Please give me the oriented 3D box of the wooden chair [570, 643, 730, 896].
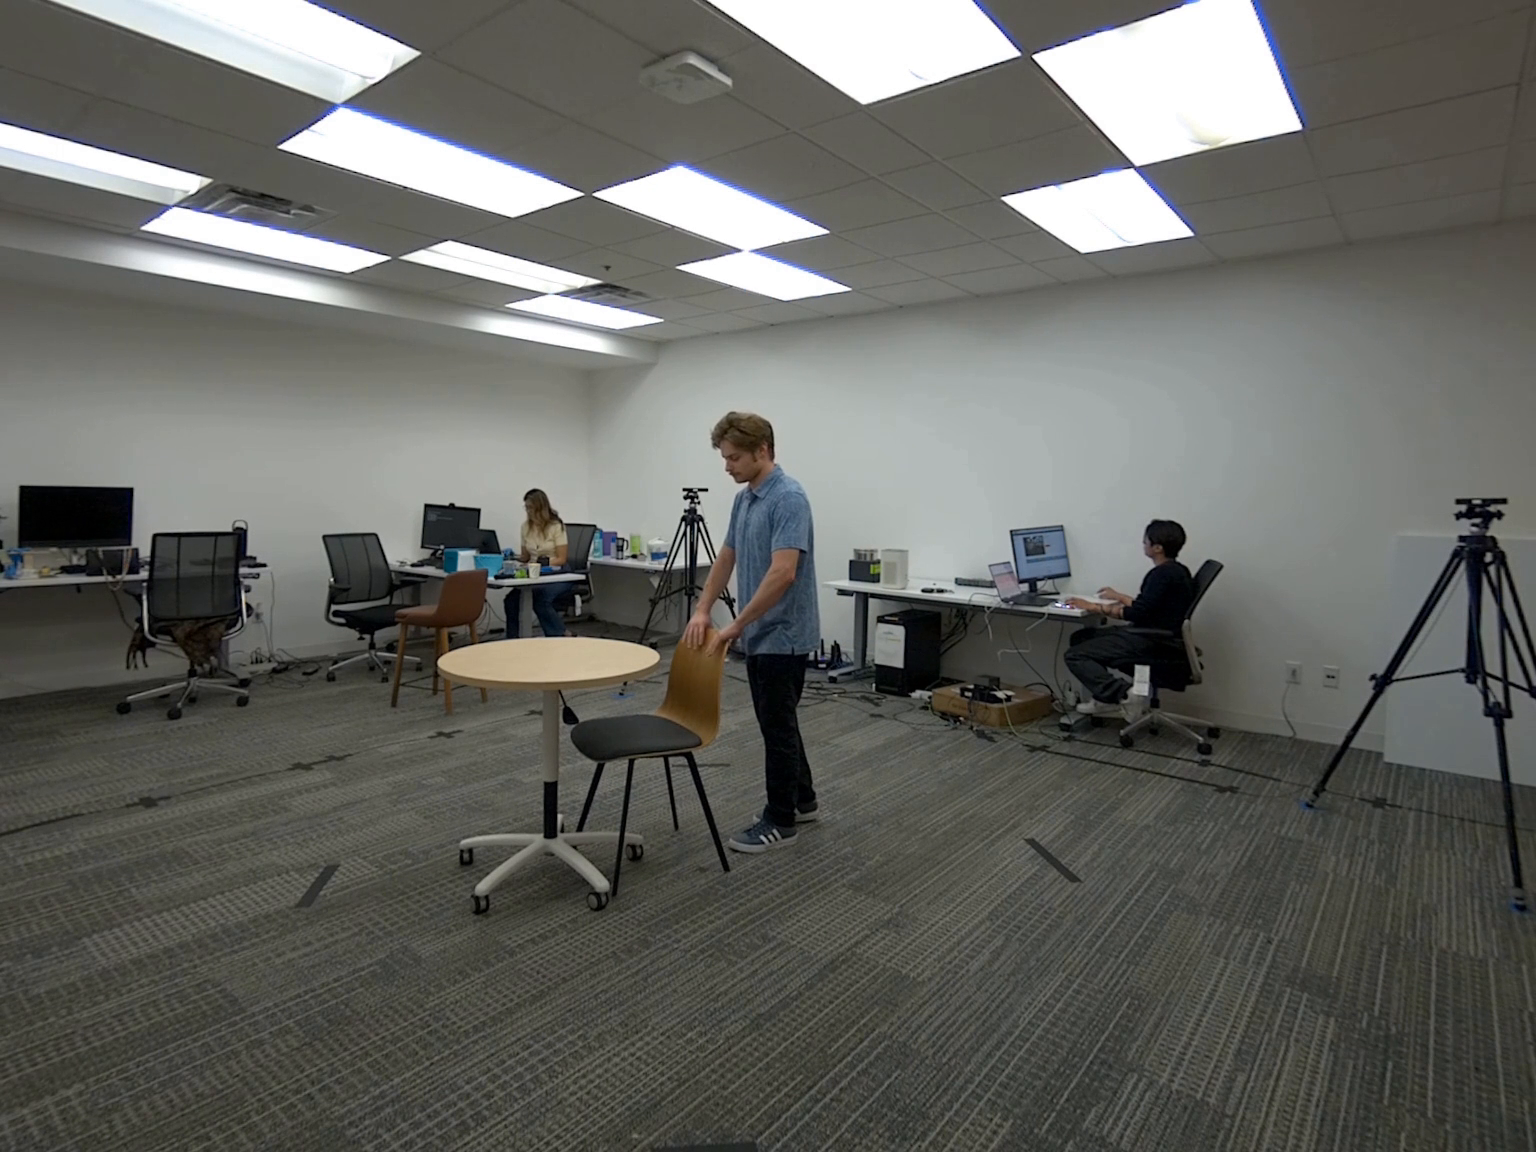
[{"bbox_3d":[-0.453,0.634,3.157,0.508,0.877,0.492,4,1,-30],"label":"wooden chair"}]
